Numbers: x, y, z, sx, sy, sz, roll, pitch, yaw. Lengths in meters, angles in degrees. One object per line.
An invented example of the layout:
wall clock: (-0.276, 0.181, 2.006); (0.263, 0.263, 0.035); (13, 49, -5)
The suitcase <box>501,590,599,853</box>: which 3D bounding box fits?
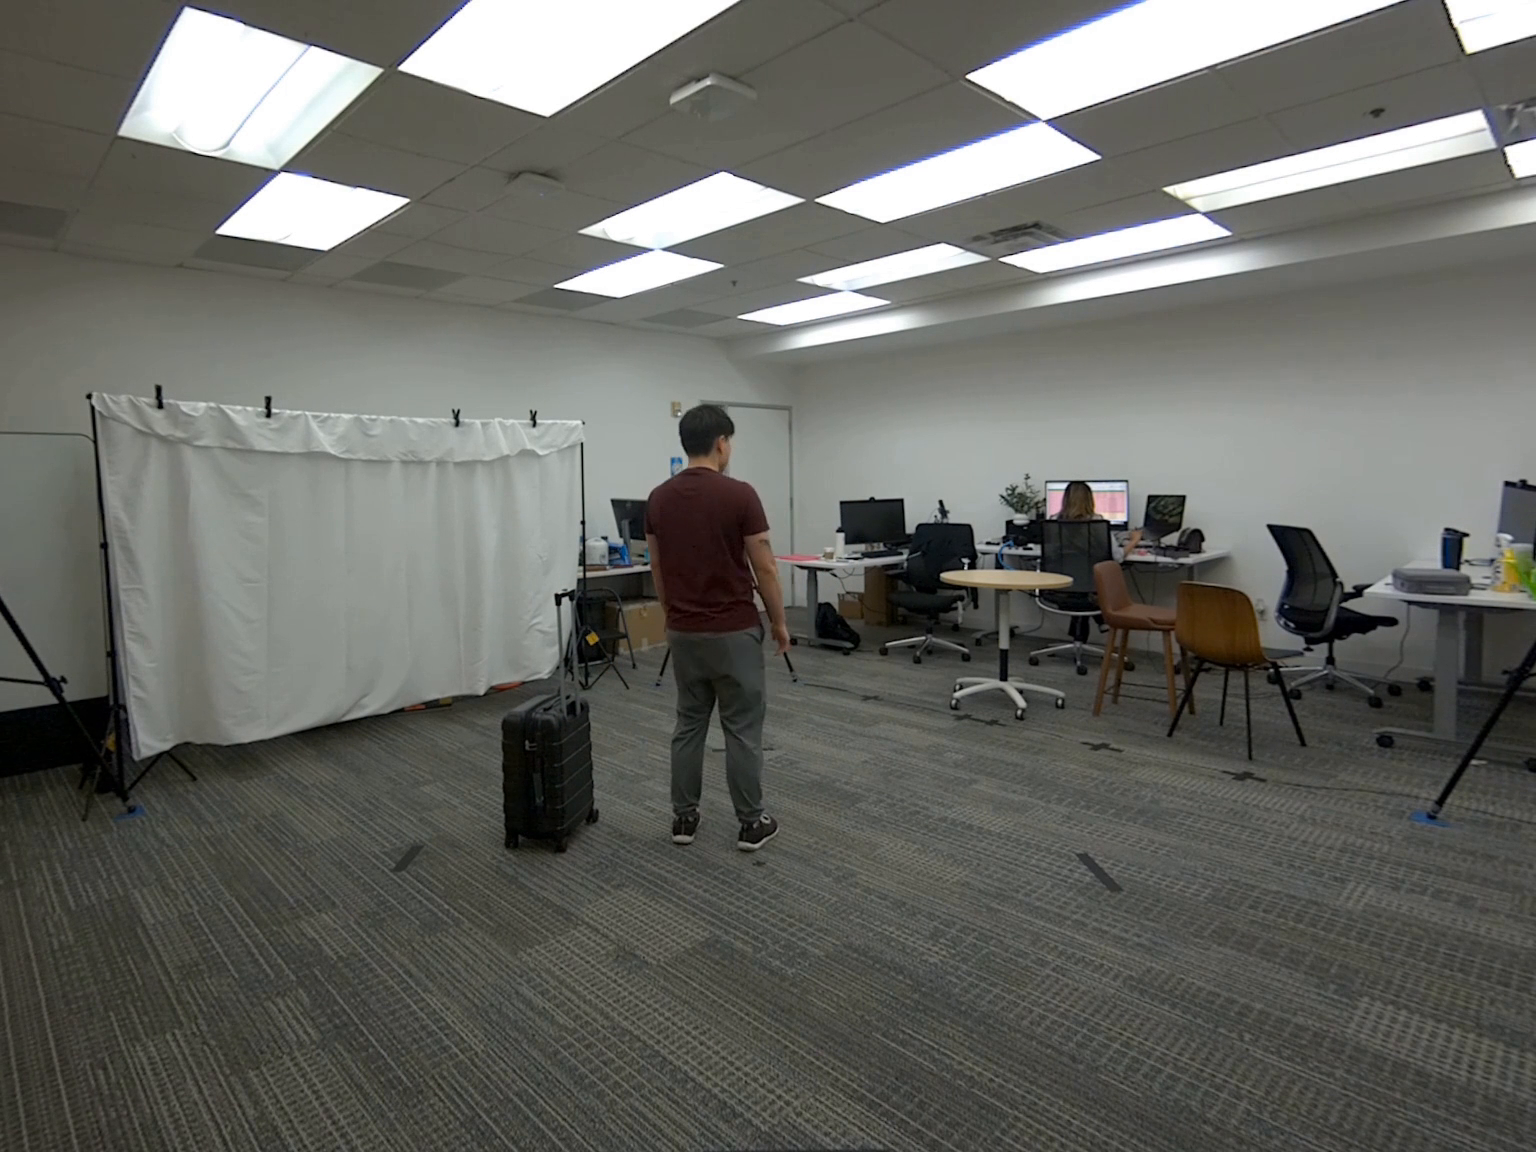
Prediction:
suitcase: (-0.876, 0.558, 3.365); (0.260, 0.975, 0.381); (-3, 4, 10)
